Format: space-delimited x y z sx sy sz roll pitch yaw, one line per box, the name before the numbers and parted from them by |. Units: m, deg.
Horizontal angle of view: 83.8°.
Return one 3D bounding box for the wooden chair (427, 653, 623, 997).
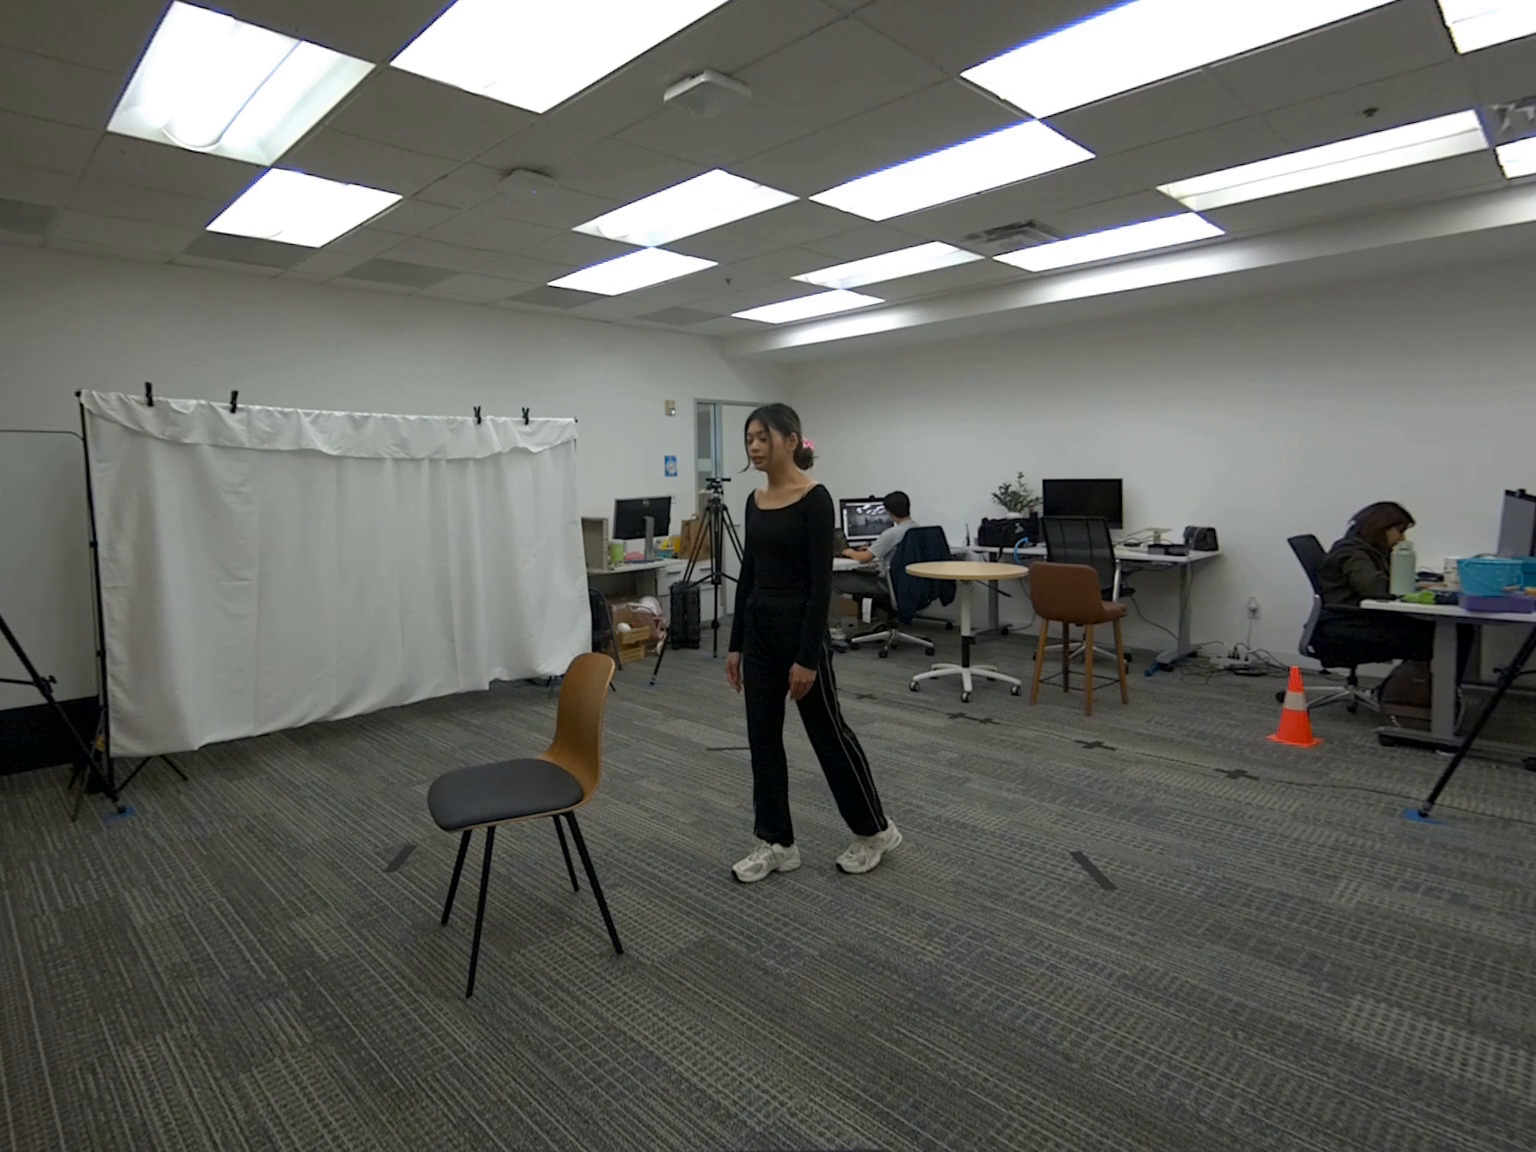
wooden chair | -0.742 0.688 2.583 0.510 0.875 0.491 1 3 -28
